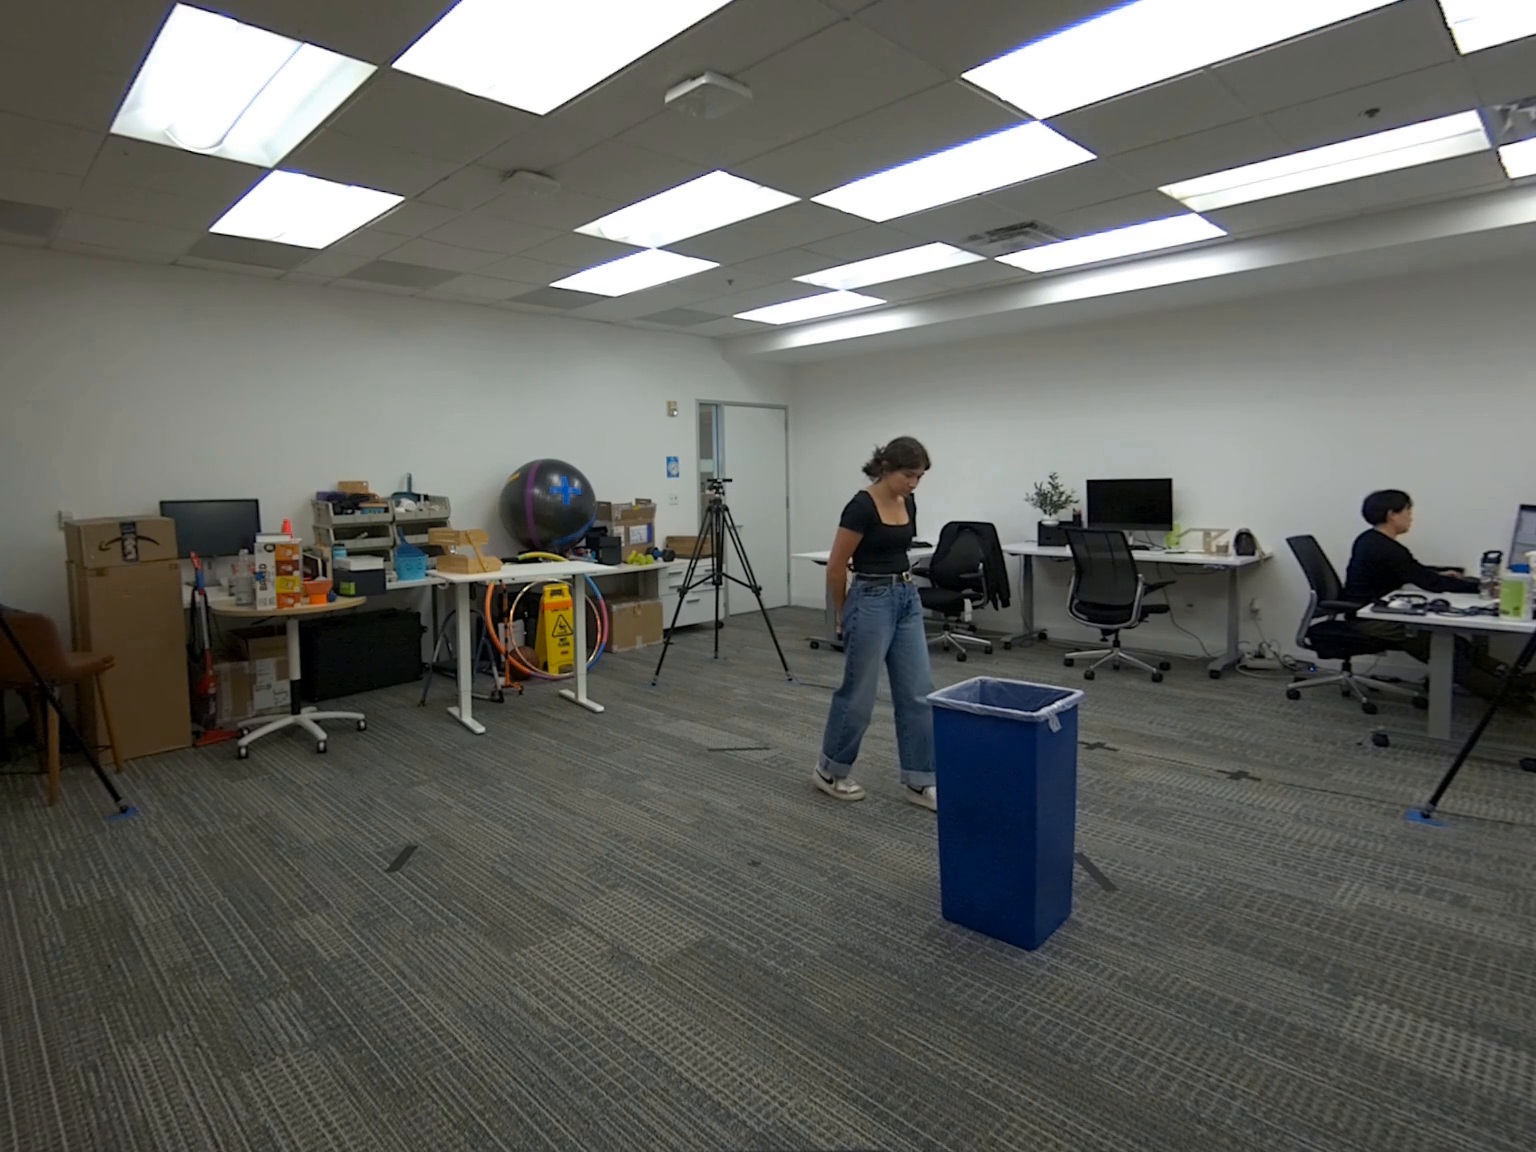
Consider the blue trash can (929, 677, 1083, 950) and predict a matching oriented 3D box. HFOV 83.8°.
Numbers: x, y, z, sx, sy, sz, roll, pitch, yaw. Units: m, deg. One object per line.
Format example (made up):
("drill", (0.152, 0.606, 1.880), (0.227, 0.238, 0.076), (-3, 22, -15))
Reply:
("blue trash can", (0.749, 0.726, 2.679), (0.389, 0.712, 0.364), (1, 4, 41))
